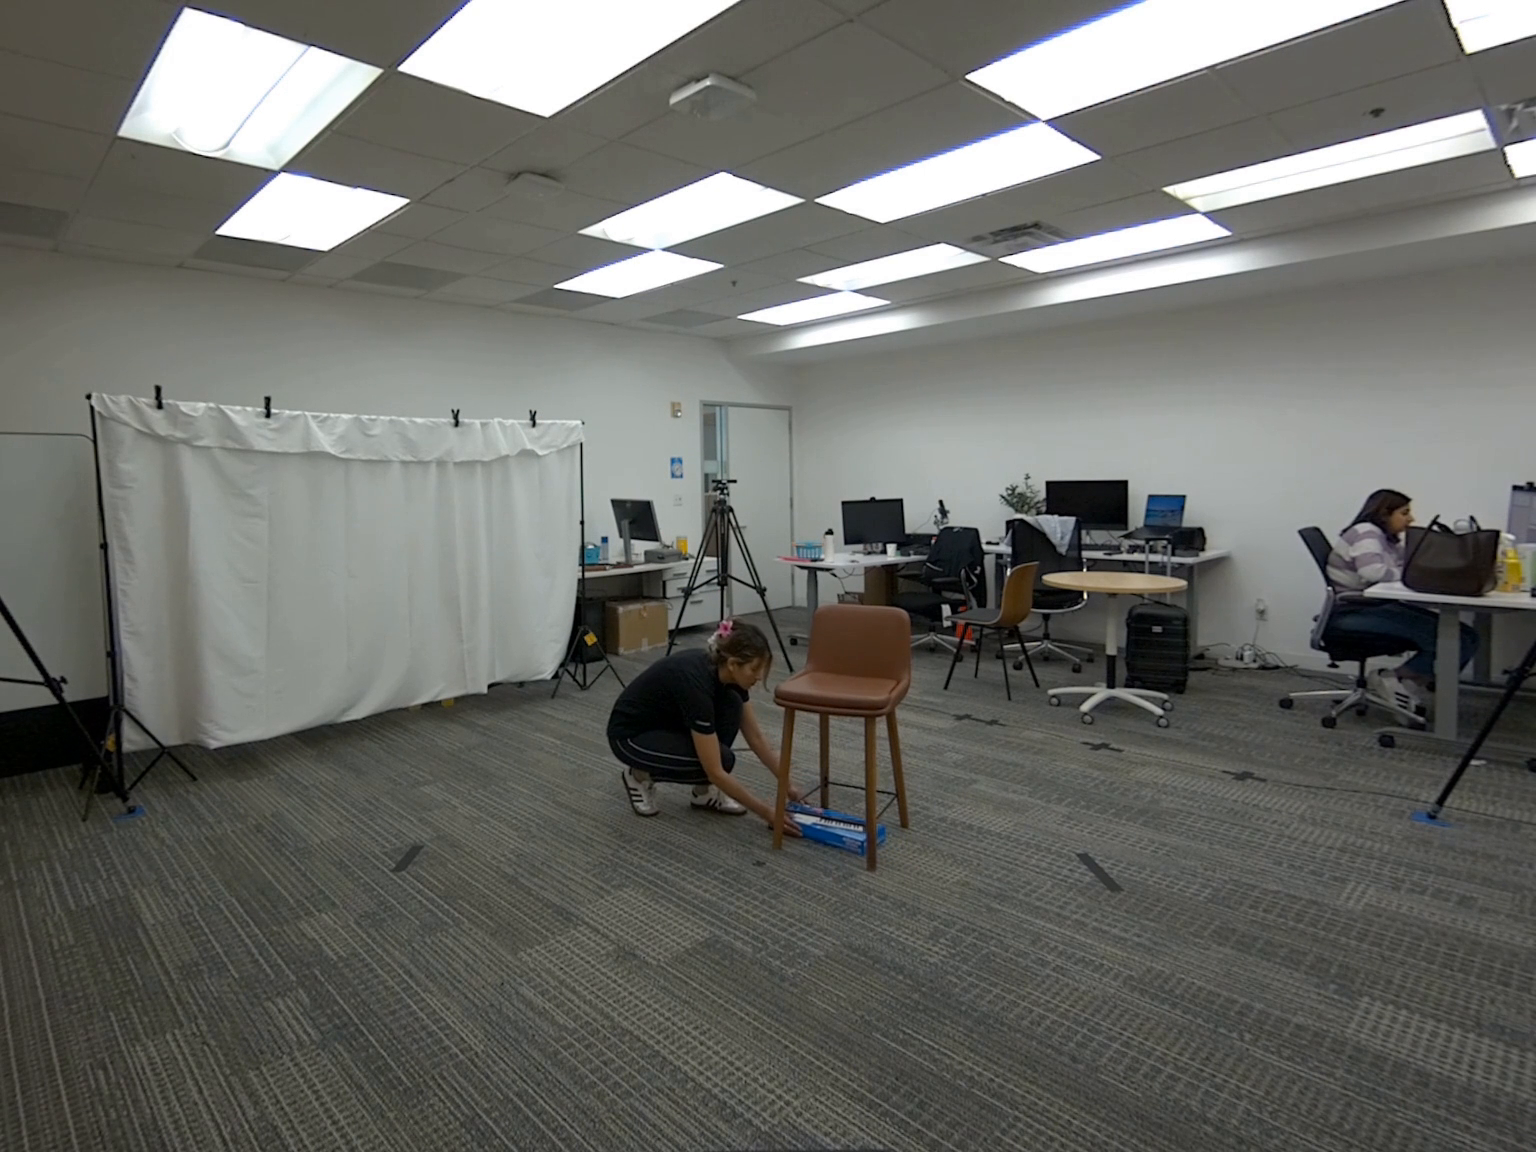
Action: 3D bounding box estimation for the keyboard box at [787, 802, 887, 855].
[{"bbox_3d":[0.227,0.993,3.354,0.450,0.059,0.171,3,6,37],"label":"keyboard box"}]
